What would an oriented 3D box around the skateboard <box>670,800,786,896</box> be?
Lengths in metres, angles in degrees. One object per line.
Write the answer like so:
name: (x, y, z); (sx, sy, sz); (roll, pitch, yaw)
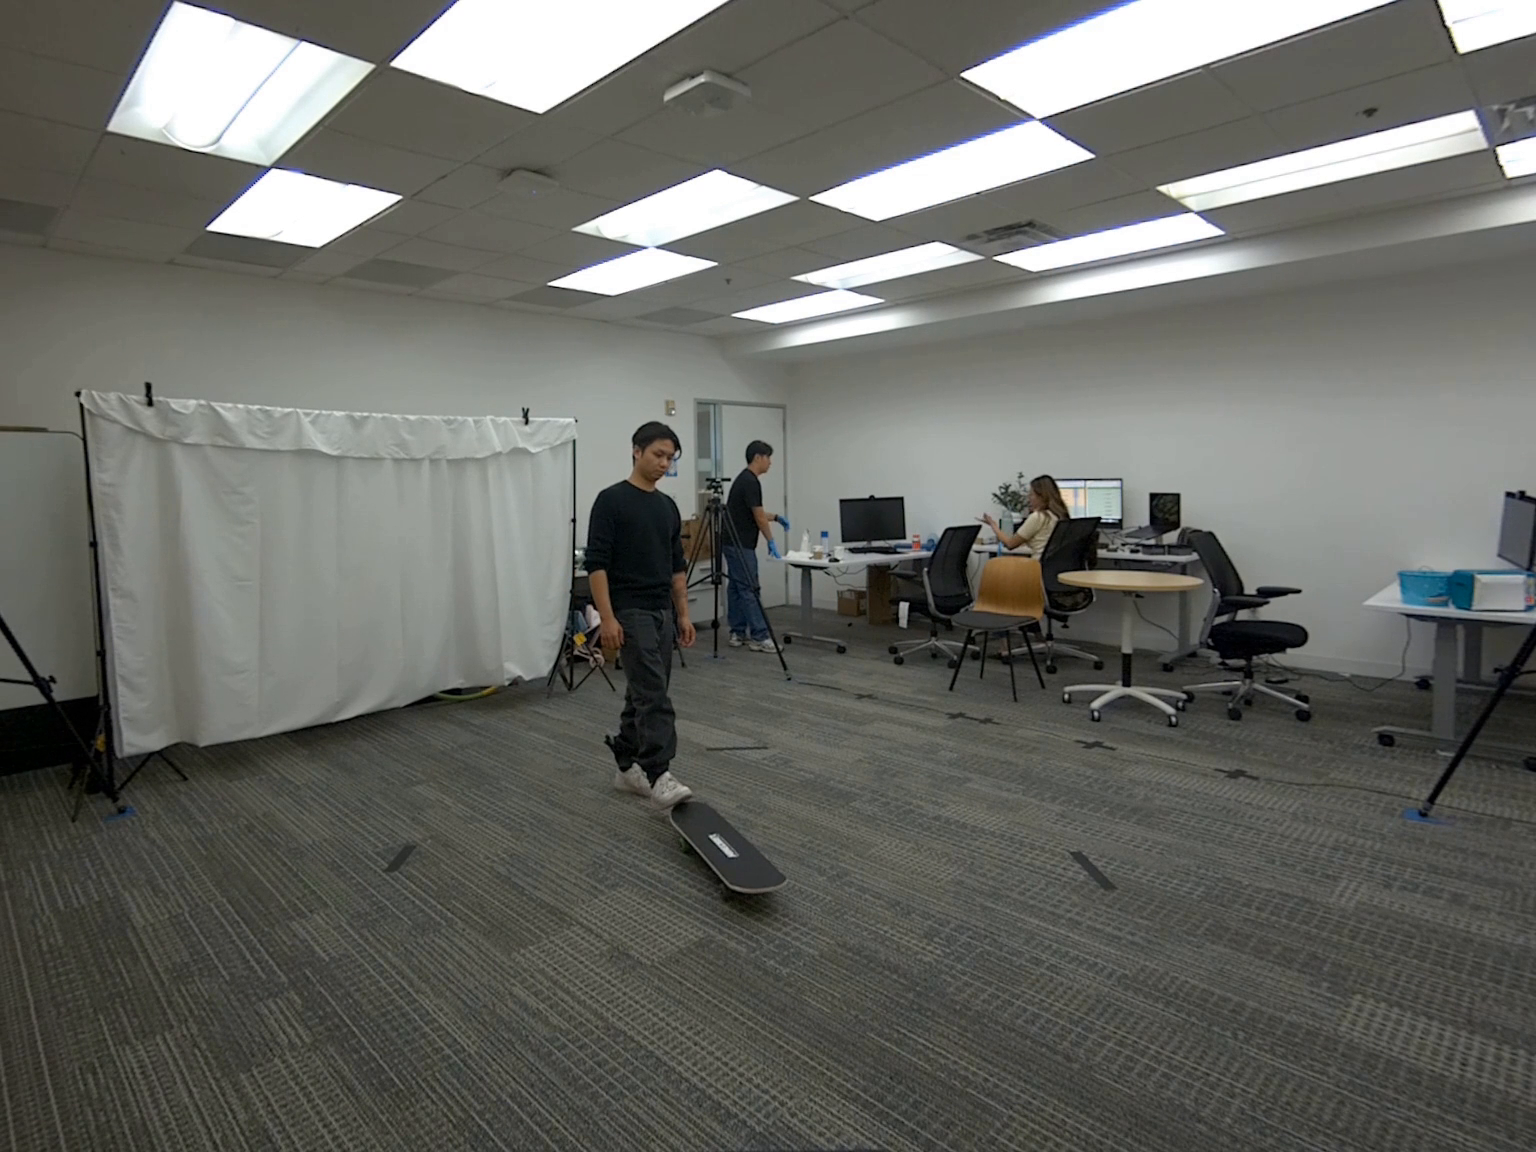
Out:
skateboard: (-0.155, 0.996, 3.050); (0.190, 0.110, 0.805); (-4, 7, -24)
